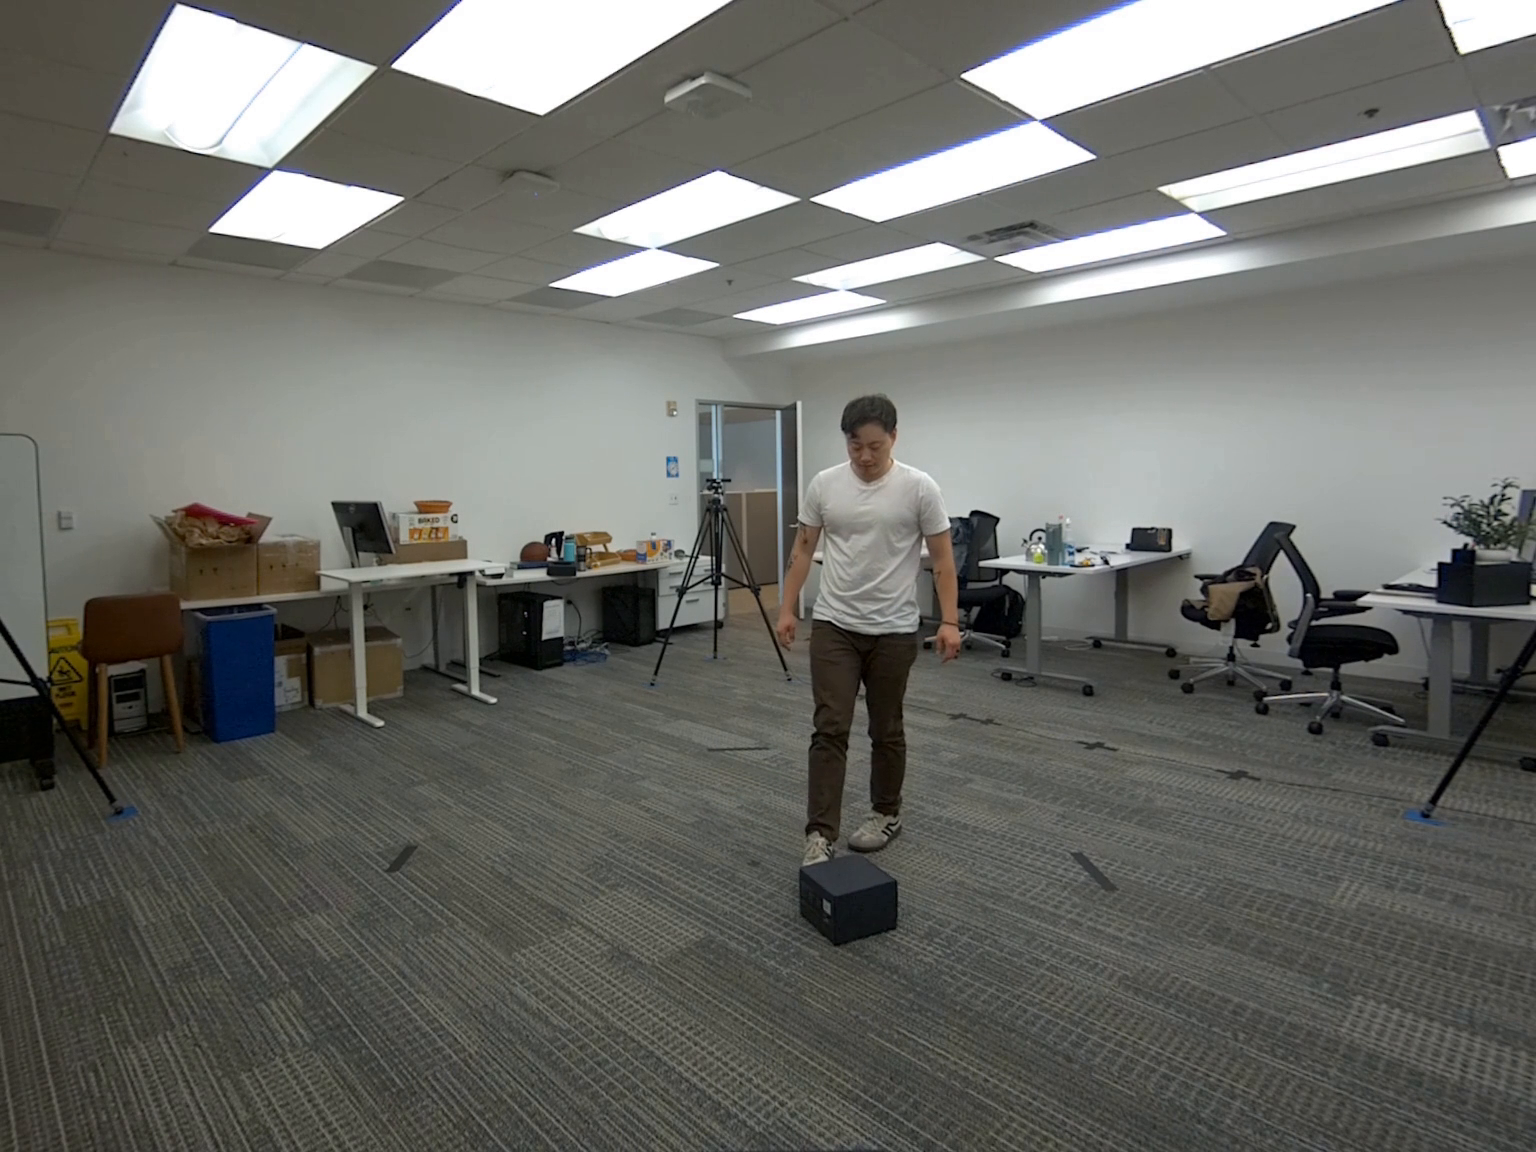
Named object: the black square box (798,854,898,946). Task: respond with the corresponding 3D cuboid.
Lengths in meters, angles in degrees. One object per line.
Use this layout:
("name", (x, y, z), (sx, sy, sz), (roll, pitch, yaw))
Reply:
("black square box", (0.254, 1.005, 2.682), (0.223, 0.155, 0.222), (-4, 6, -26))
